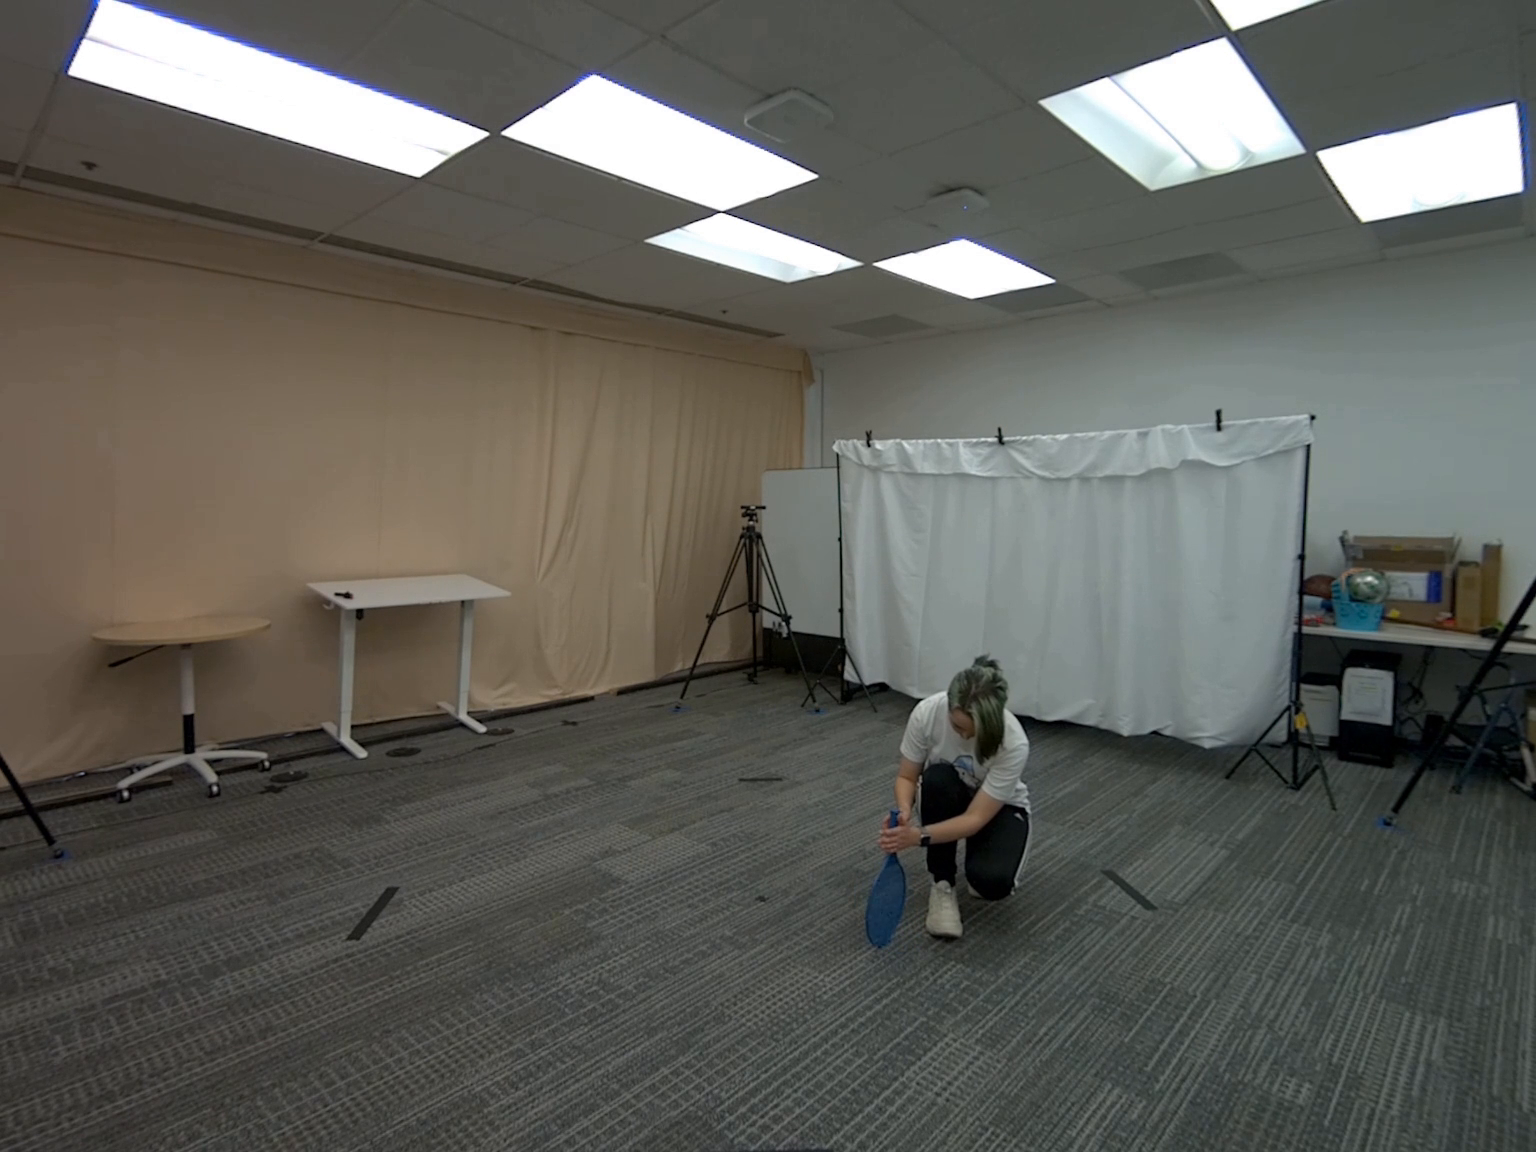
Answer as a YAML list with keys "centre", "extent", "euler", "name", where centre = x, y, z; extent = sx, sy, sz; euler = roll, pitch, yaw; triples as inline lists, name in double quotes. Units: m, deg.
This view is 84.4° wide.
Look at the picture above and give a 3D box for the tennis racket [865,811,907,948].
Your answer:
- centre: [0.384, 0.958, 2.653]
  extent: [0.033, 0.432, 0.207]
  euler: [6, 6, 42]
  name: "tennis racket"
